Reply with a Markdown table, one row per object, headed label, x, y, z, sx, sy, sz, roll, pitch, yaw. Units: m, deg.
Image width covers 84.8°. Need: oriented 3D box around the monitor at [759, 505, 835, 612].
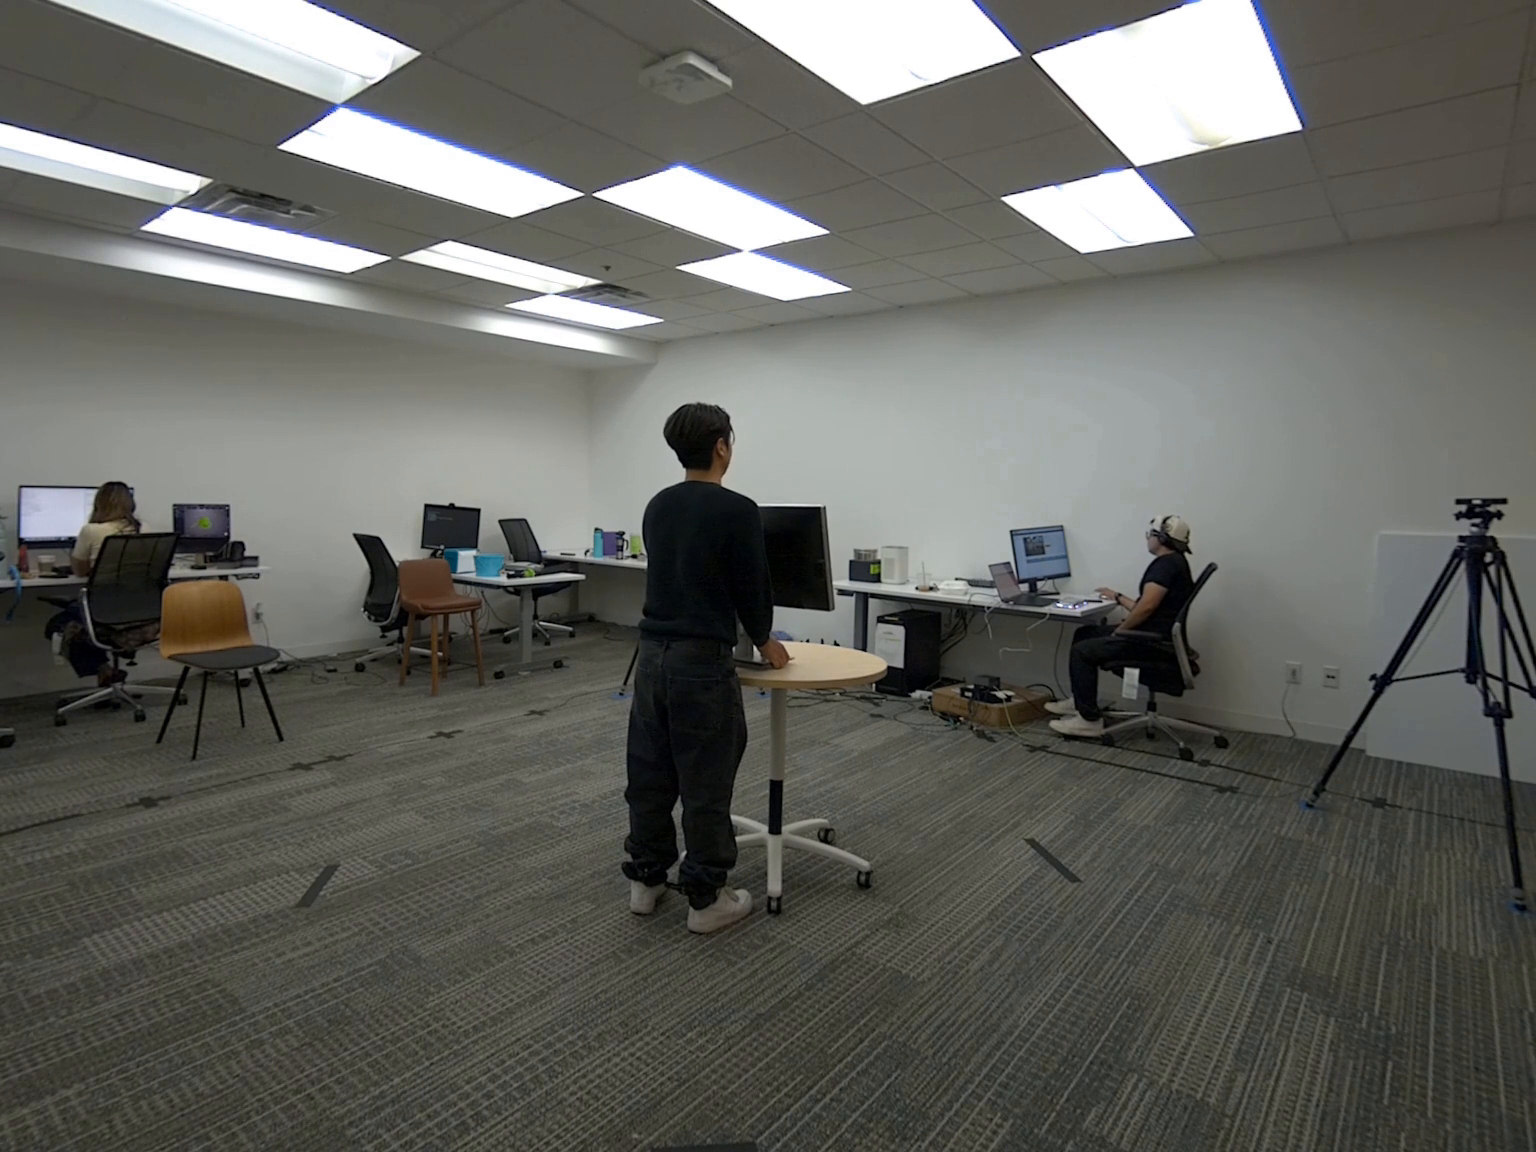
| label | x | y | z | sx | sy | sz | roll | pitch | yaw |
| --- | --- | --- | --- | --- | --- | --- | --- | --- | --- |
| monitor | -0.057 | 0.018 | 2.968 | 0.556 | 0.522 | 0.181 | 4 | 2 | 36 |
